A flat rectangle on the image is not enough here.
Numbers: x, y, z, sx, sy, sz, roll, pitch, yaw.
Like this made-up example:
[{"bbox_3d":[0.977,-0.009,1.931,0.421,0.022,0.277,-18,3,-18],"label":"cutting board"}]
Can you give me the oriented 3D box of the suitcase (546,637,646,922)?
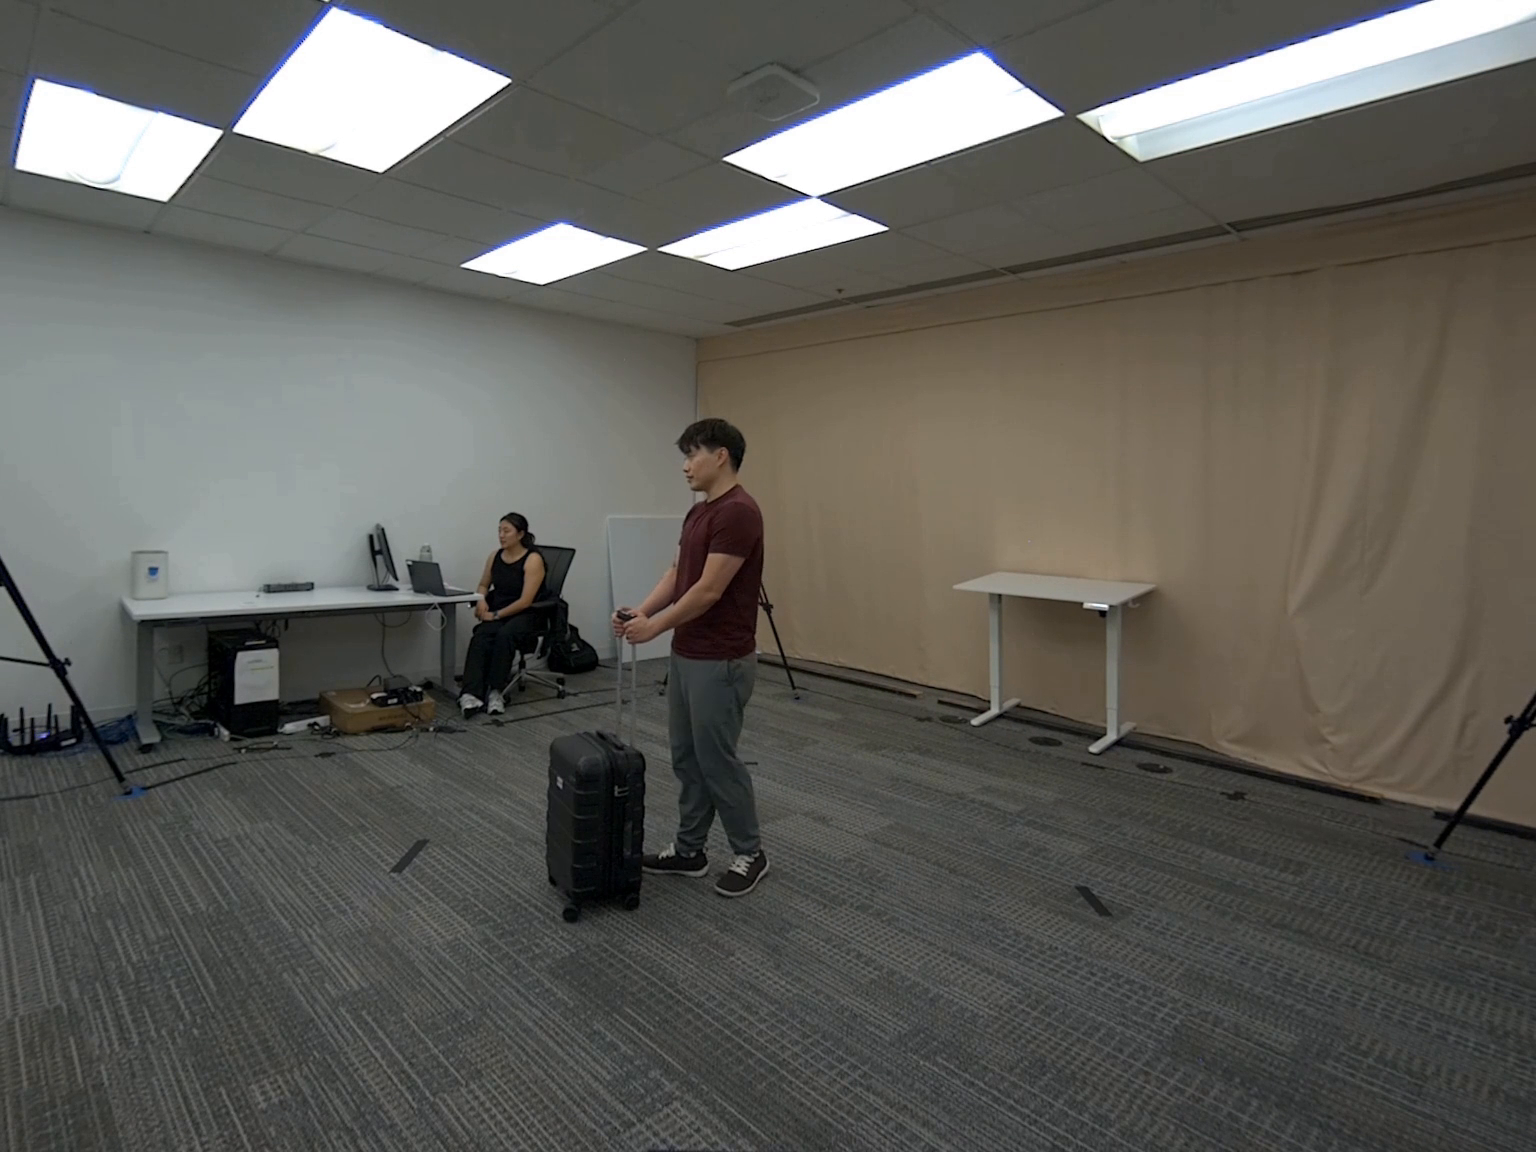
[{"bbox_3d":[-0.607,0.636,2.898,0.252,0.976,0.392,-1,4,-29],"label":"suitcase"}]
